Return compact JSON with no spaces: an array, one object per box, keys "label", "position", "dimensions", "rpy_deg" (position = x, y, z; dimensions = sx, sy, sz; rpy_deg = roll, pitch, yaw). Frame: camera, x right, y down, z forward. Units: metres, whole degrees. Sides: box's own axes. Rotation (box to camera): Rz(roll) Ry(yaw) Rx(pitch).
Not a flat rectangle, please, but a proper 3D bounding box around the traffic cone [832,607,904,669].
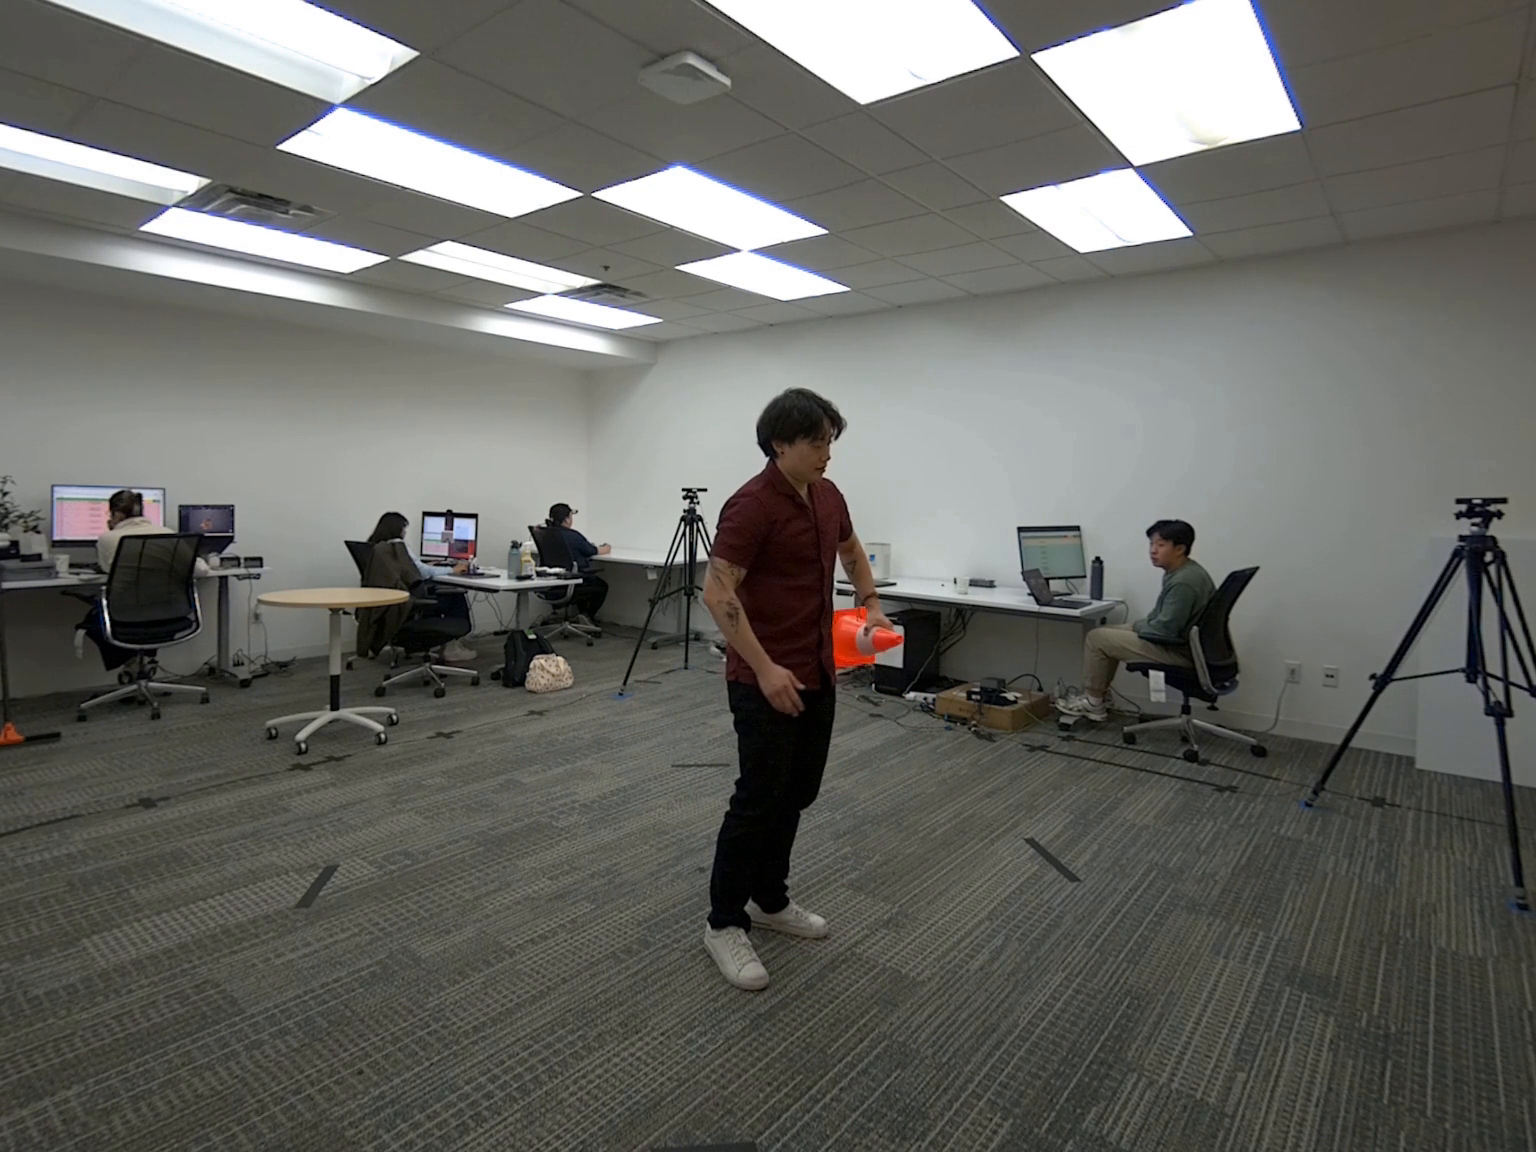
[{"label":"traffic cone","position":[0.330,0.215,2.784],"dimensions":[0.201,0.203,0.391],"rpy_deg":[-10,3,-21]}]
